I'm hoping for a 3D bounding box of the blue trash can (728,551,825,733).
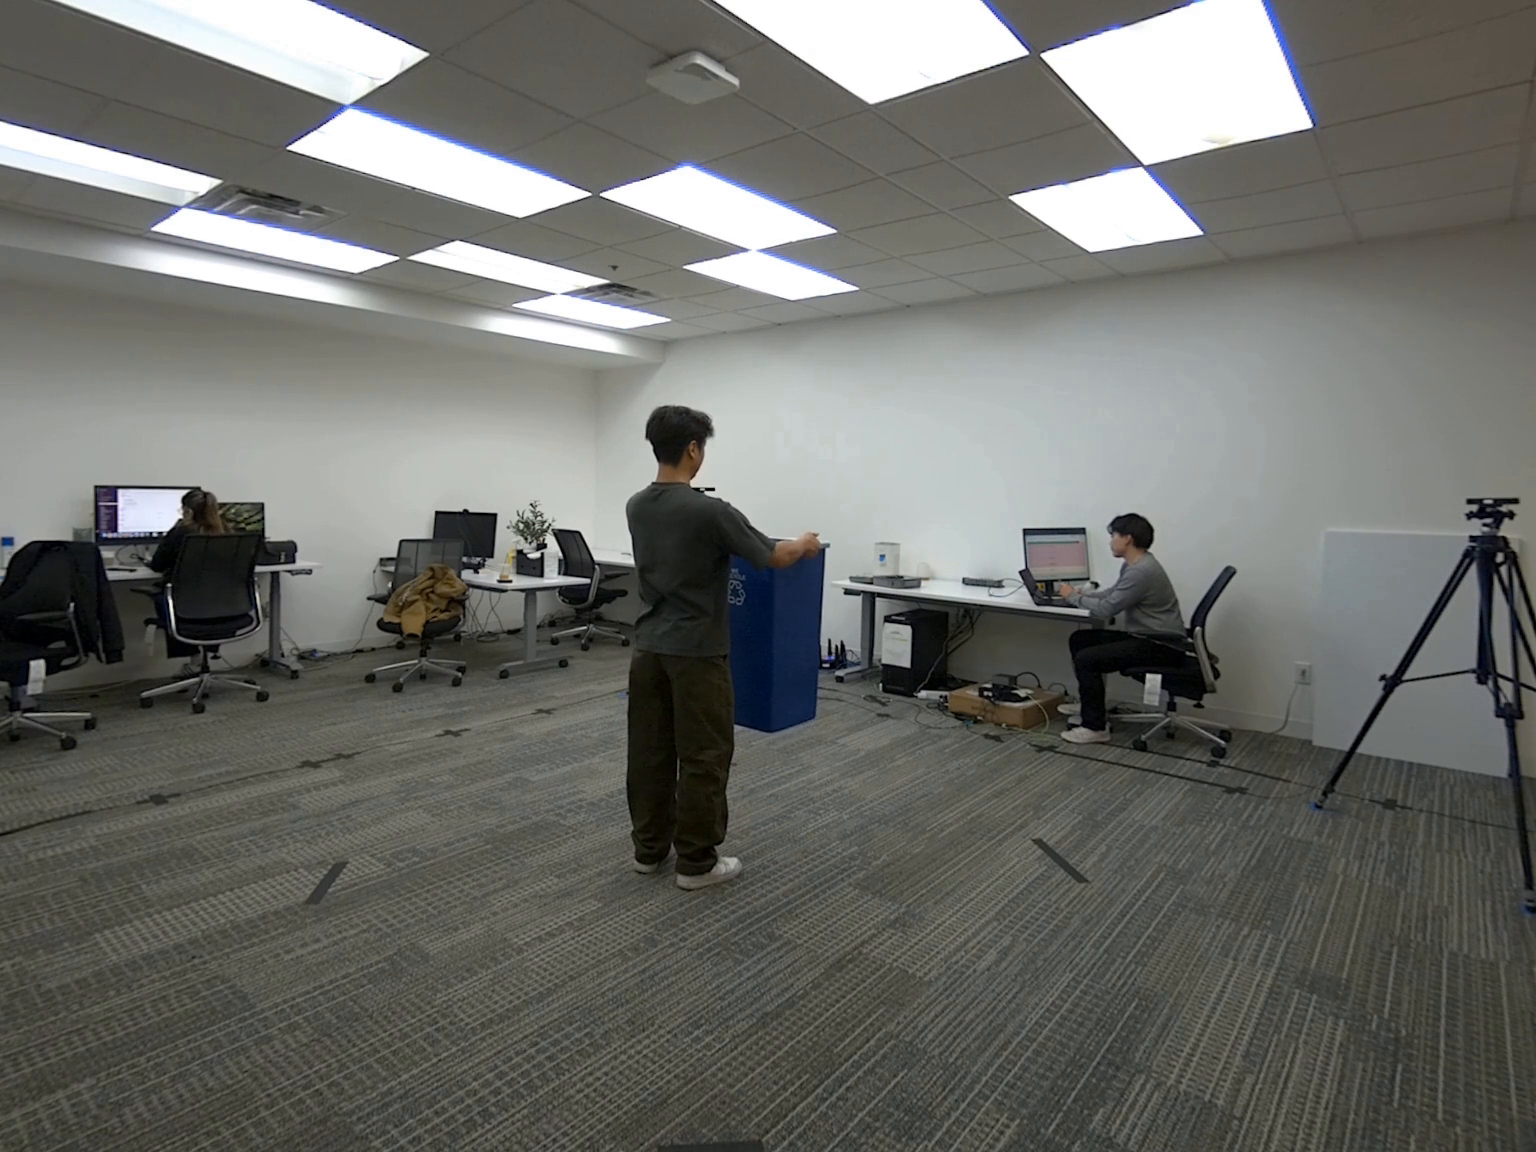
[{"bbox_3d":[-0.018,0.216,3.391,0.391,0.710,0.363,4,6,39],"label":"blue trash can"}]
